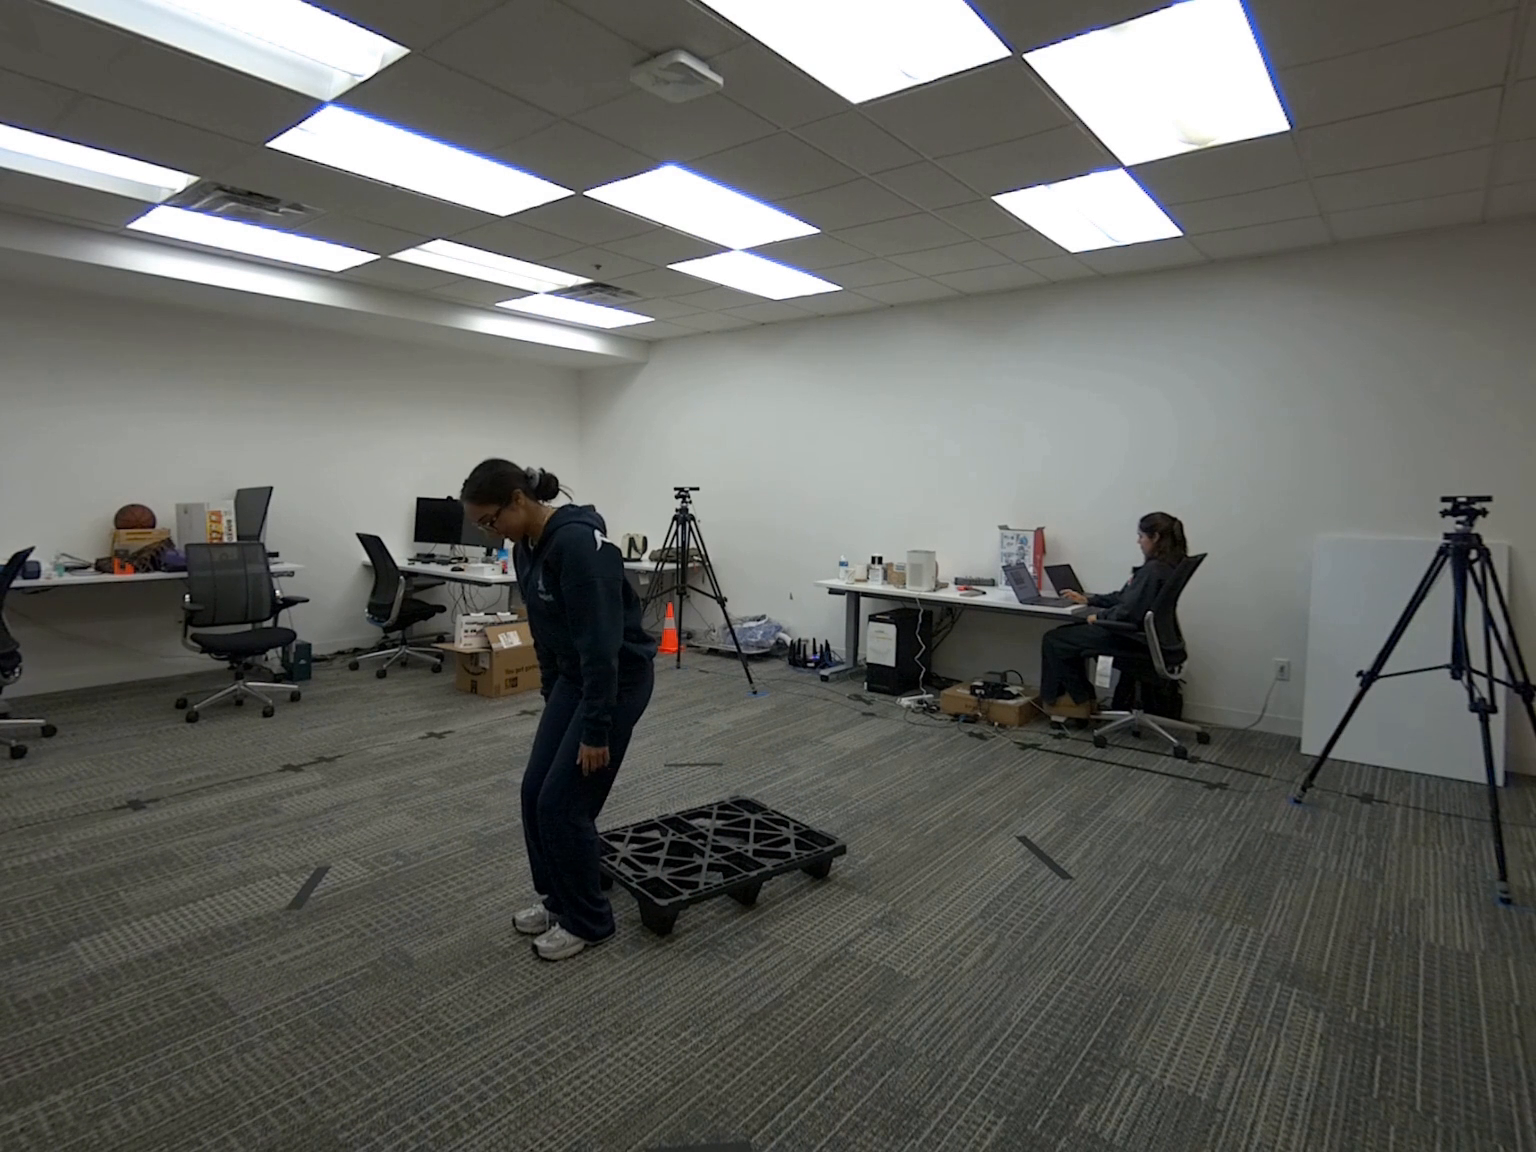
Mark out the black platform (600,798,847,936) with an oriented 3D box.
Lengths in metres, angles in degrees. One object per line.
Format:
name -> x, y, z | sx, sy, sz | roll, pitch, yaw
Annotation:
black platform -> -0.212, 1.008, 3.029 | 0.782, 0.143, 0.626 | -4, 8, -39
